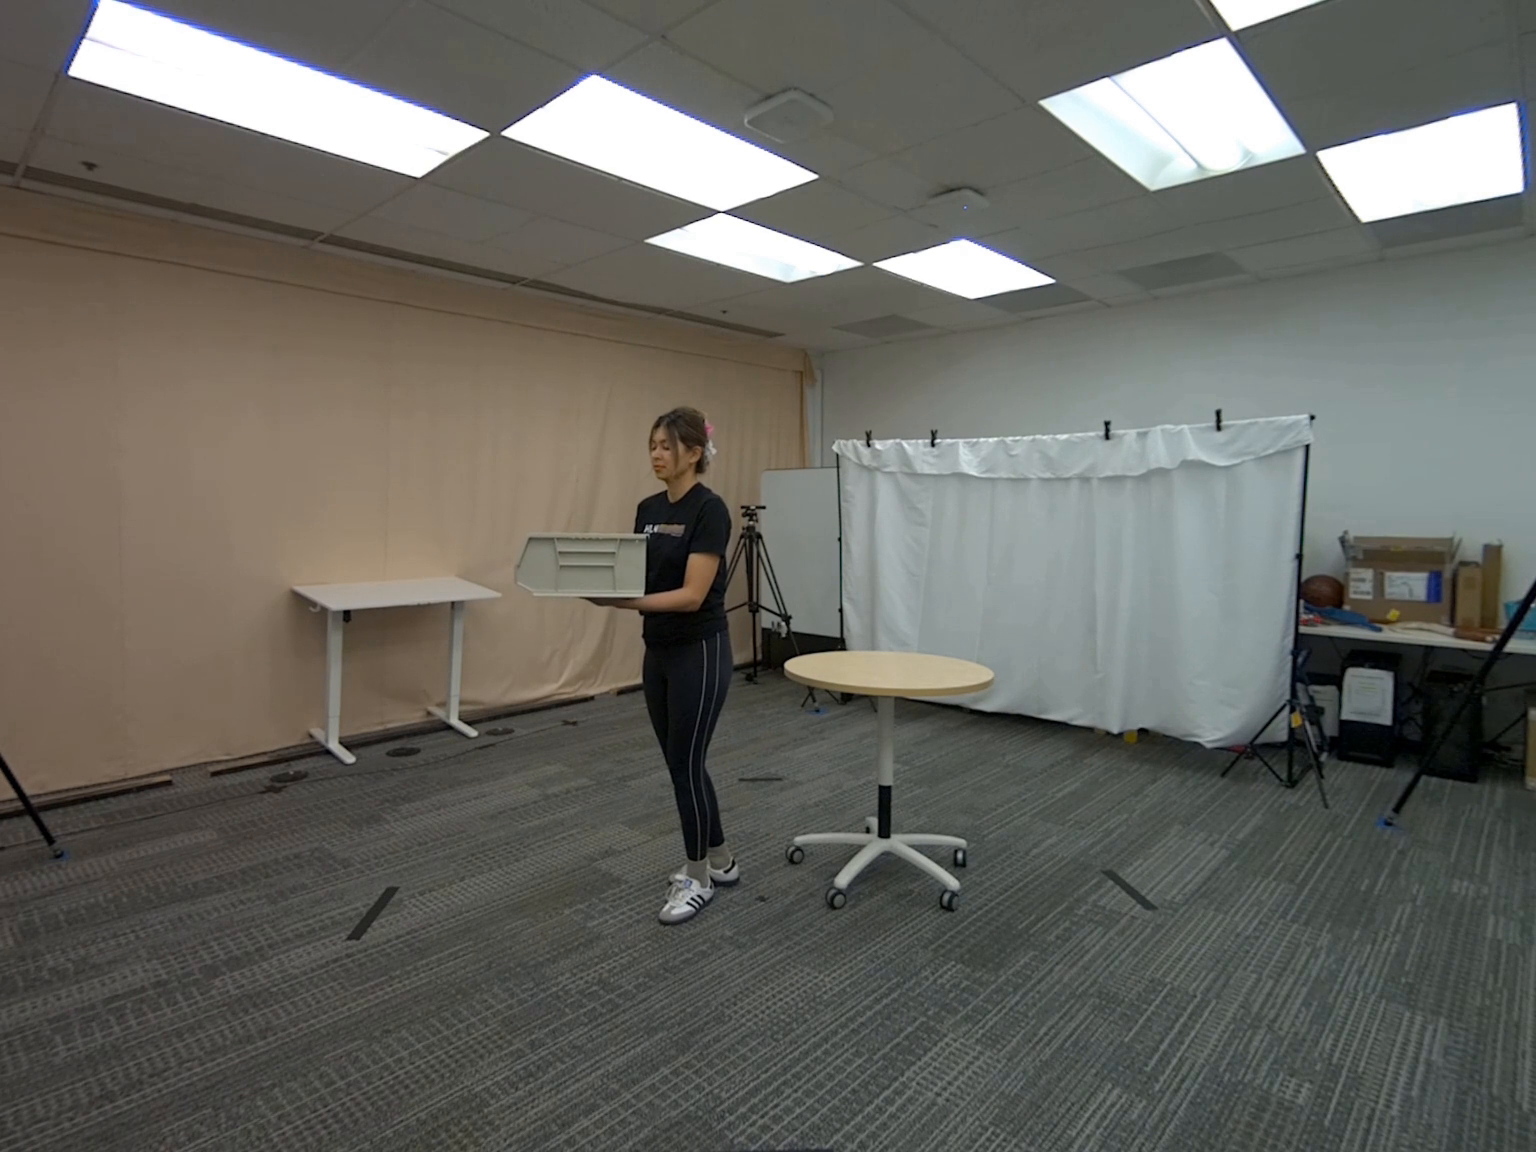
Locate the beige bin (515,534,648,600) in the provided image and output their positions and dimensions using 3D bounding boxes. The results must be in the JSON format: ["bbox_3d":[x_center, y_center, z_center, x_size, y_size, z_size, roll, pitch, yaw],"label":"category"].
[{"bbox_3d":[-0.565,-0.037,2.570,0.376,0.189,0.424,1,1,-5],"label":"beige bin"}]
